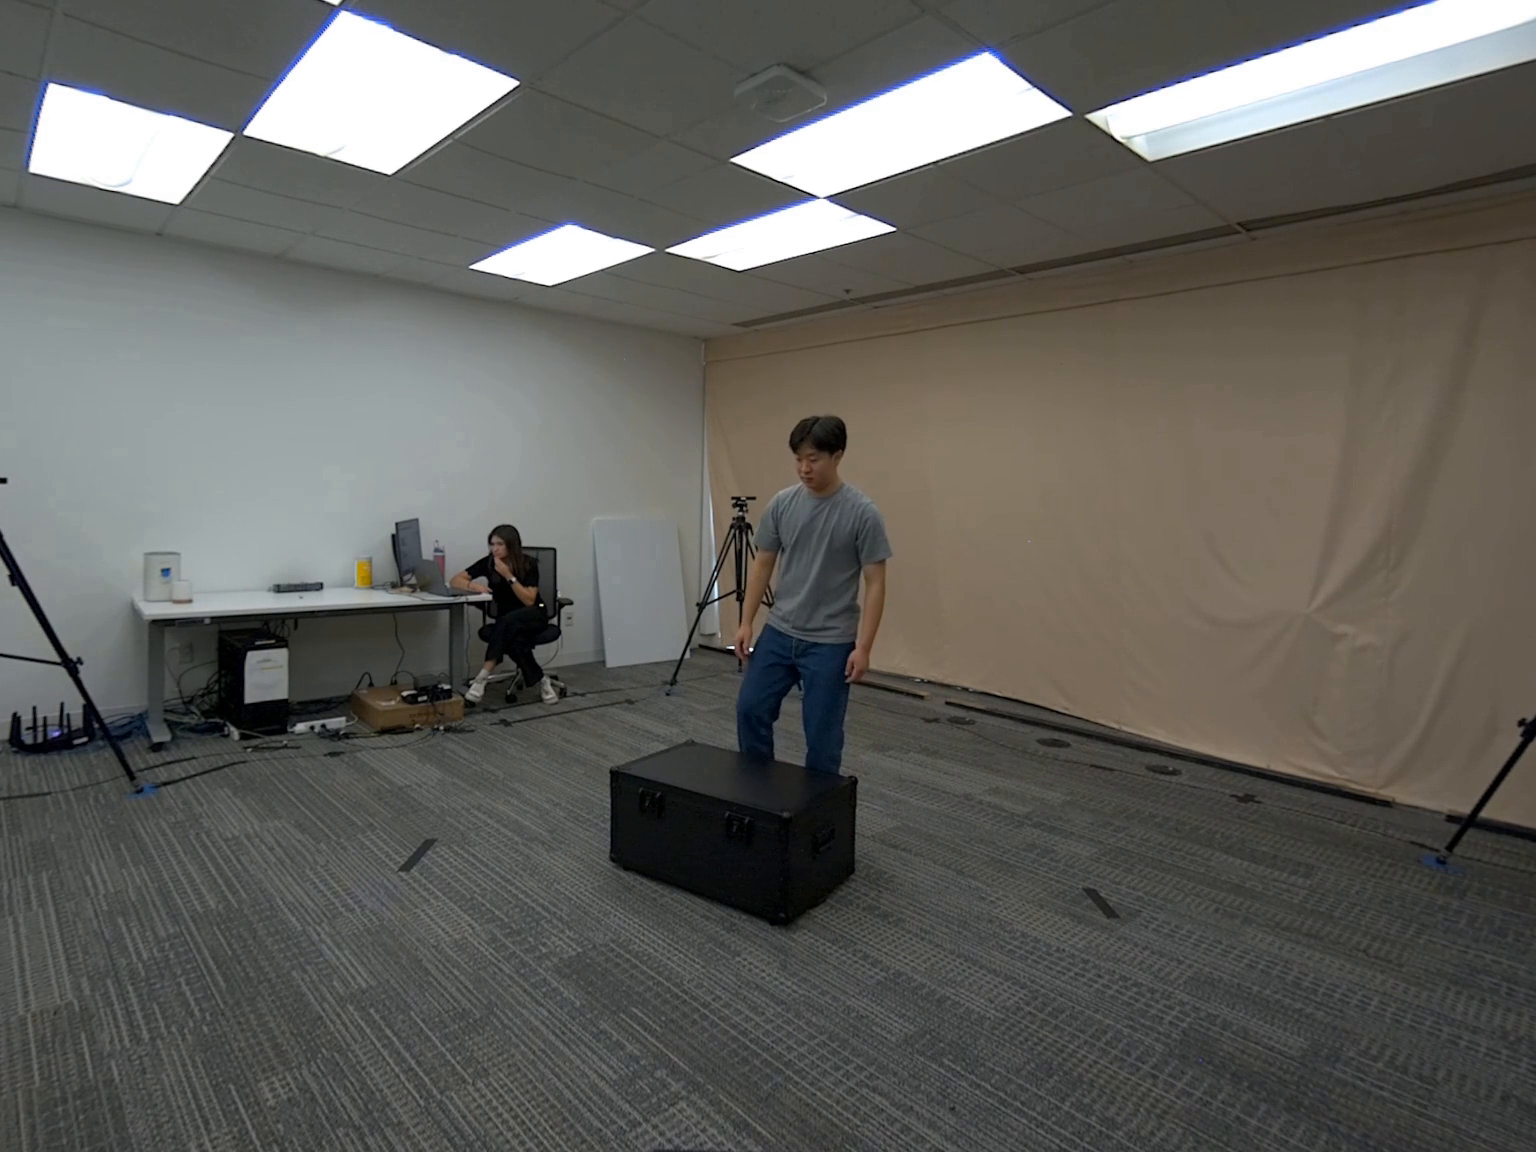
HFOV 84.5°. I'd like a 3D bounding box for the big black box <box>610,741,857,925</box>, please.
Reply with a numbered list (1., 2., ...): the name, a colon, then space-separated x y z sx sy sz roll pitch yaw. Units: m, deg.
1. big black box: -0.167 0.912 3.129 0.882 0.395 0.510 5 5 34
